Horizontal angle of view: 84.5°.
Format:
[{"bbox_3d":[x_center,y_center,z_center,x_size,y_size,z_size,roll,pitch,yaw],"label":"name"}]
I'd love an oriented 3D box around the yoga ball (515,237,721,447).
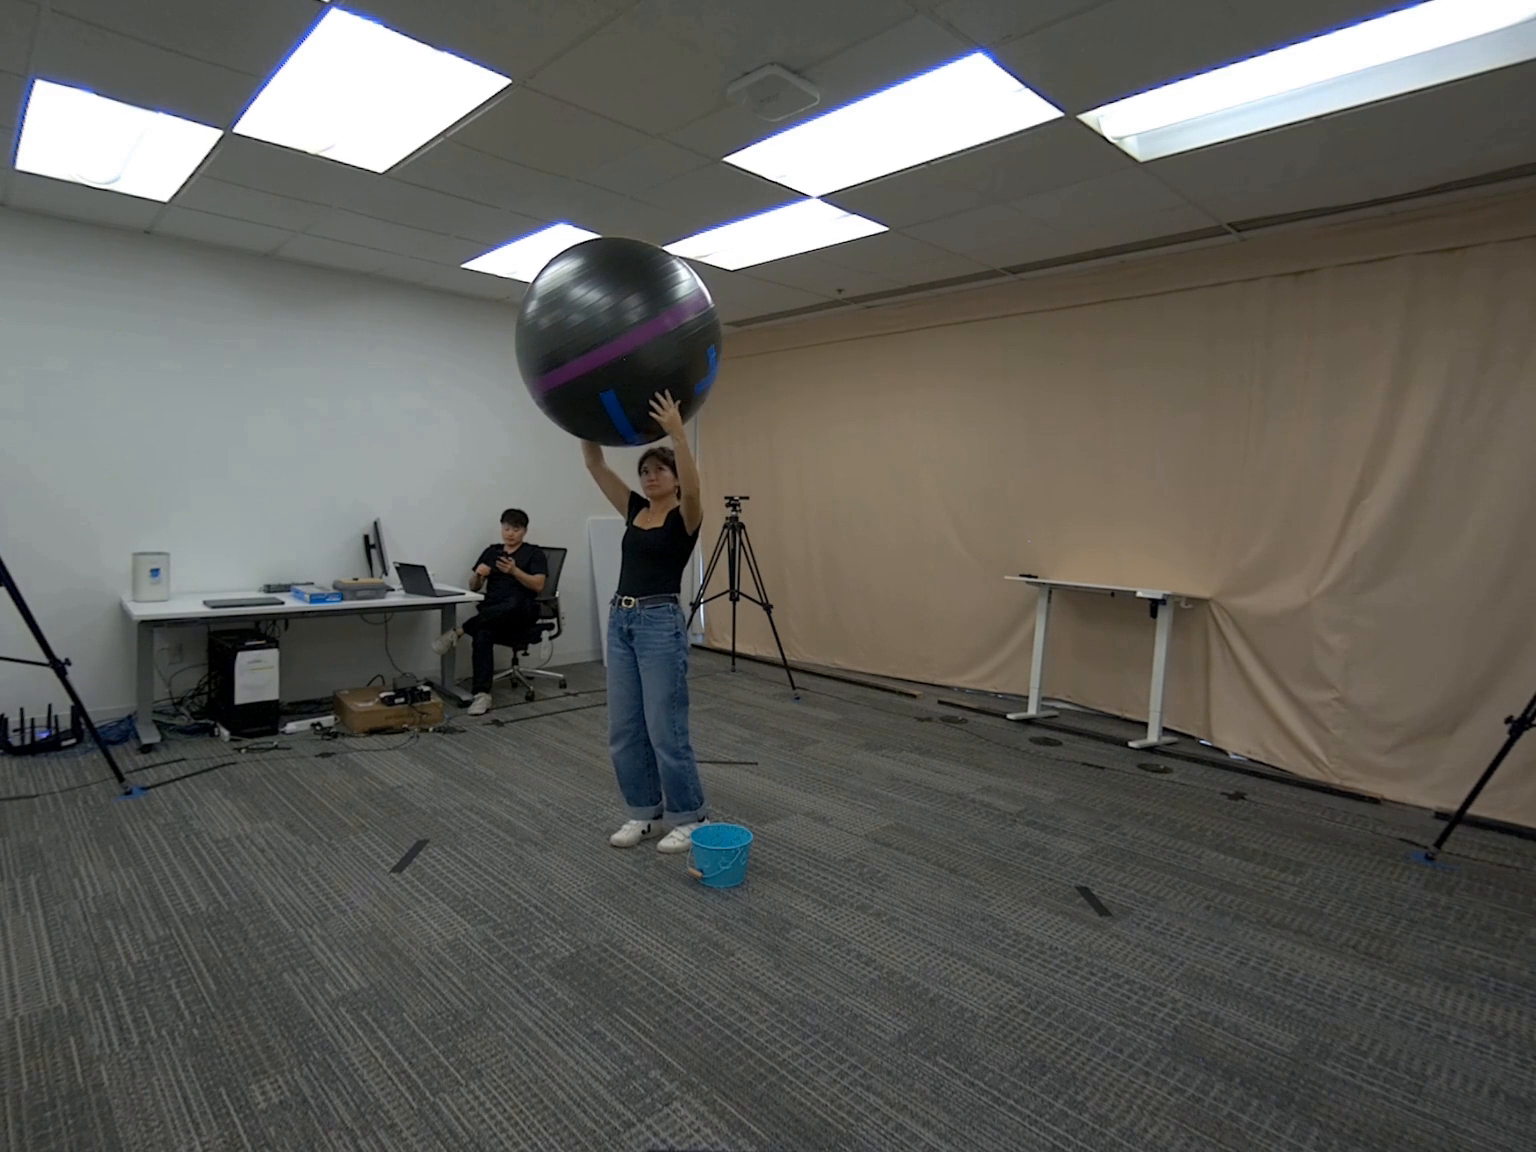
[{"bbox_3d":[-0.556,-0.860,3.137,0.757,0.756,0.761,1,4,-1],"label":"yoga ball"}]
